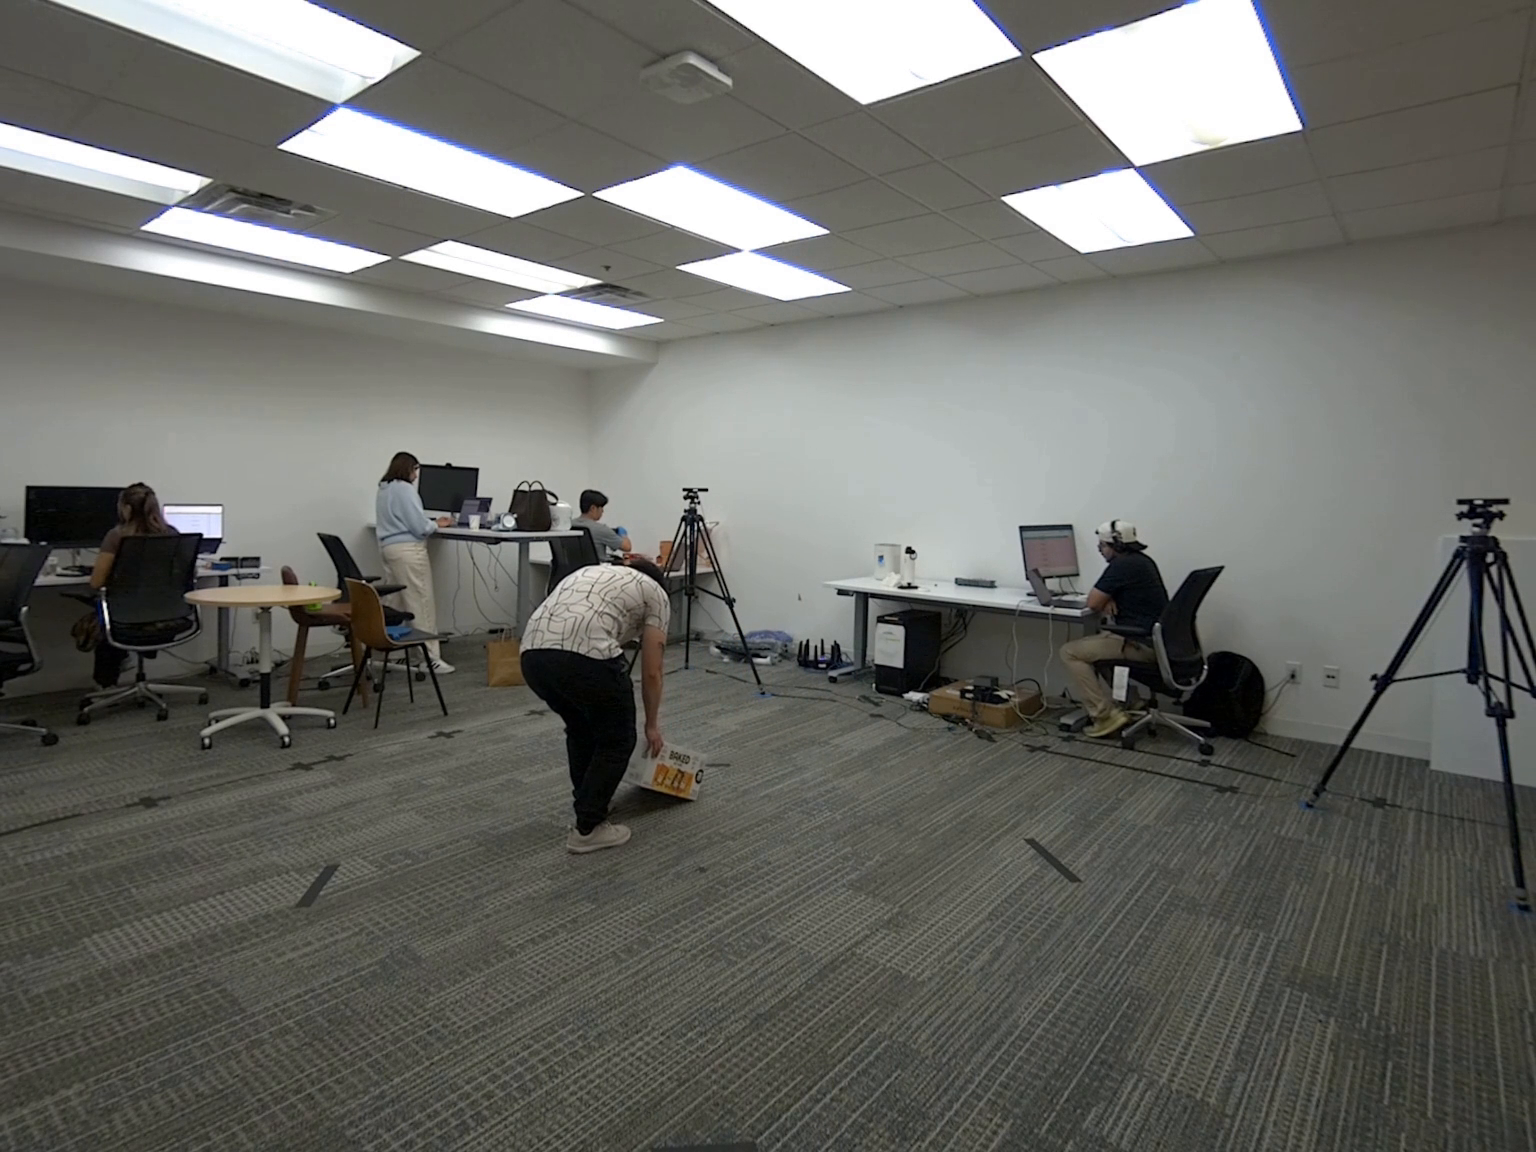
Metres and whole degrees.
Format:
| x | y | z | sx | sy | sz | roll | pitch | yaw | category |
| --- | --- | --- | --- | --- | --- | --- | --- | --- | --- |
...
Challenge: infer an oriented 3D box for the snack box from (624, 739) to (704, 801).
| x | y | z | sx | sy | sz | roll | pitch | yaw | category |
| --- | --- | --- | --- | --- | --- | --- | --- | --- | --- |
| -0.548 | 0.827 | 3.779 | 0.351 | 0.208 | 0.388 | 4 | -19 | 35 | snack box |
